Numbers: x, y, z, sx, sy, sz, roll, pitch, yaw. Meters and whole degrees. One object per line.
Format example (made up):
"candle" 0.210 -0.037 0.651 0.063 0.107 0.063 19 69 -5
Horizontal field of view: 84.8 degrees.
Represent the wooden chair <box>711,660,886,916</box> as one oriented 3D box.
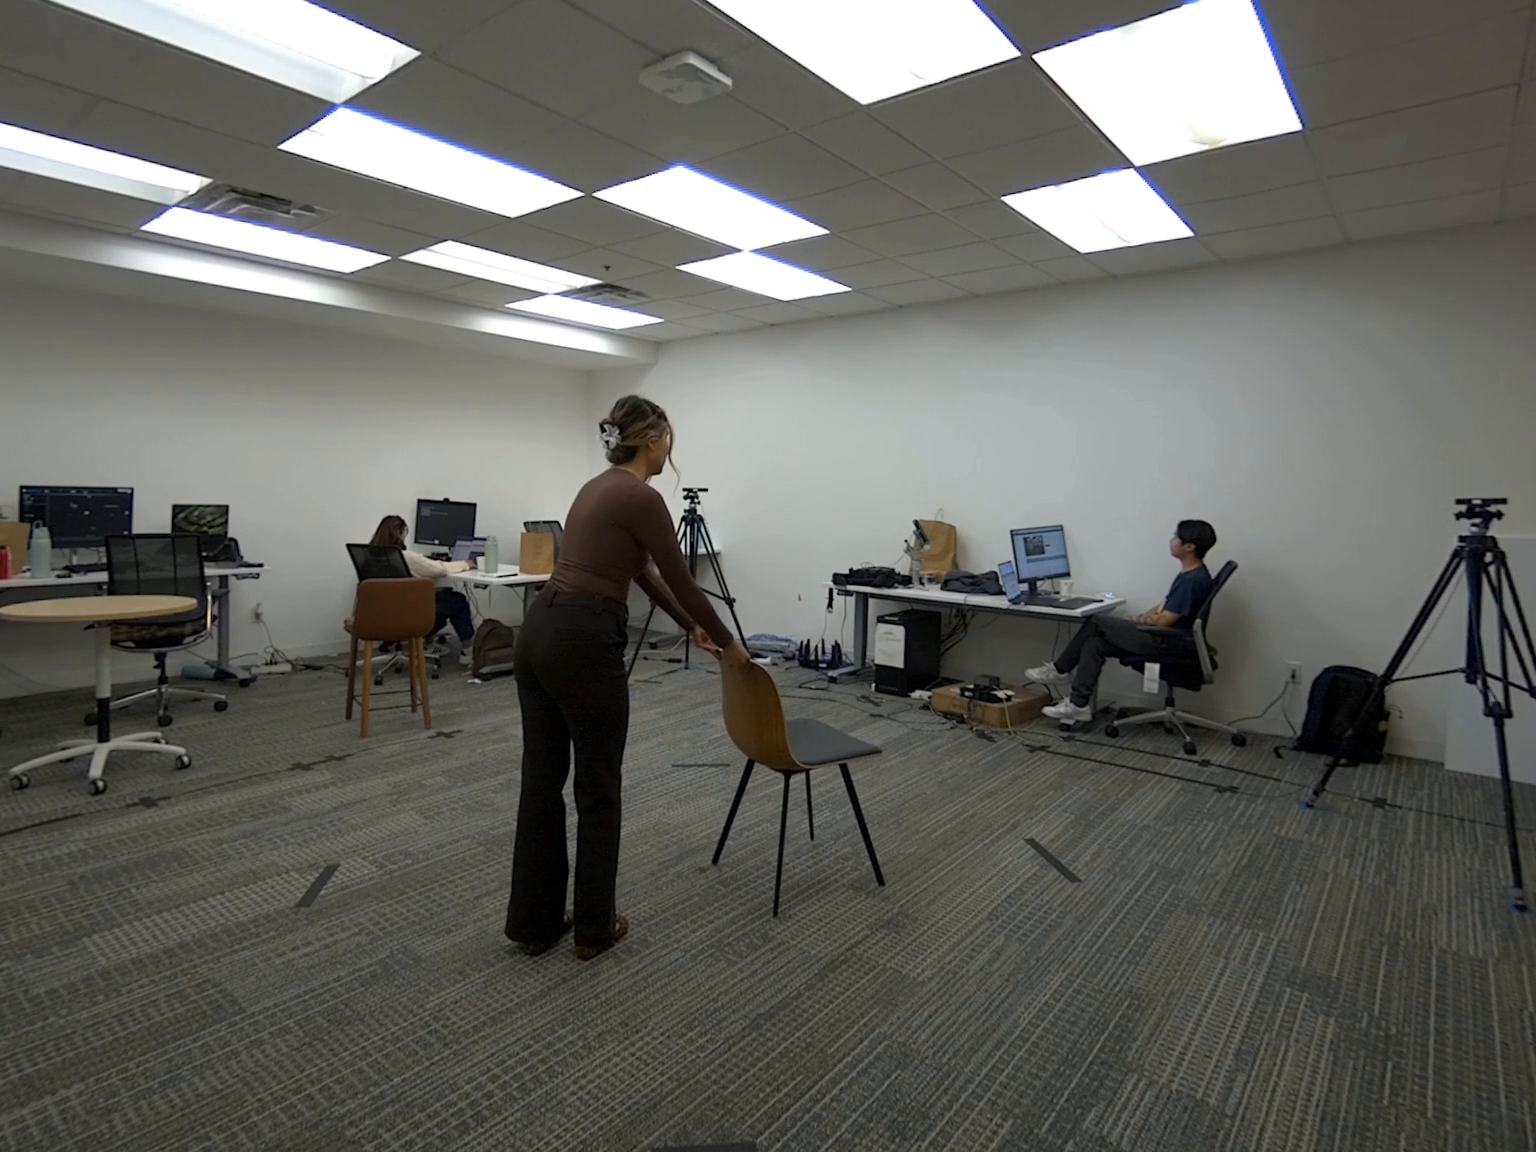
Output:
"wooden chair" 0.095 0.648 3.036 0.511 0.872 0.492 -7 7 -29
